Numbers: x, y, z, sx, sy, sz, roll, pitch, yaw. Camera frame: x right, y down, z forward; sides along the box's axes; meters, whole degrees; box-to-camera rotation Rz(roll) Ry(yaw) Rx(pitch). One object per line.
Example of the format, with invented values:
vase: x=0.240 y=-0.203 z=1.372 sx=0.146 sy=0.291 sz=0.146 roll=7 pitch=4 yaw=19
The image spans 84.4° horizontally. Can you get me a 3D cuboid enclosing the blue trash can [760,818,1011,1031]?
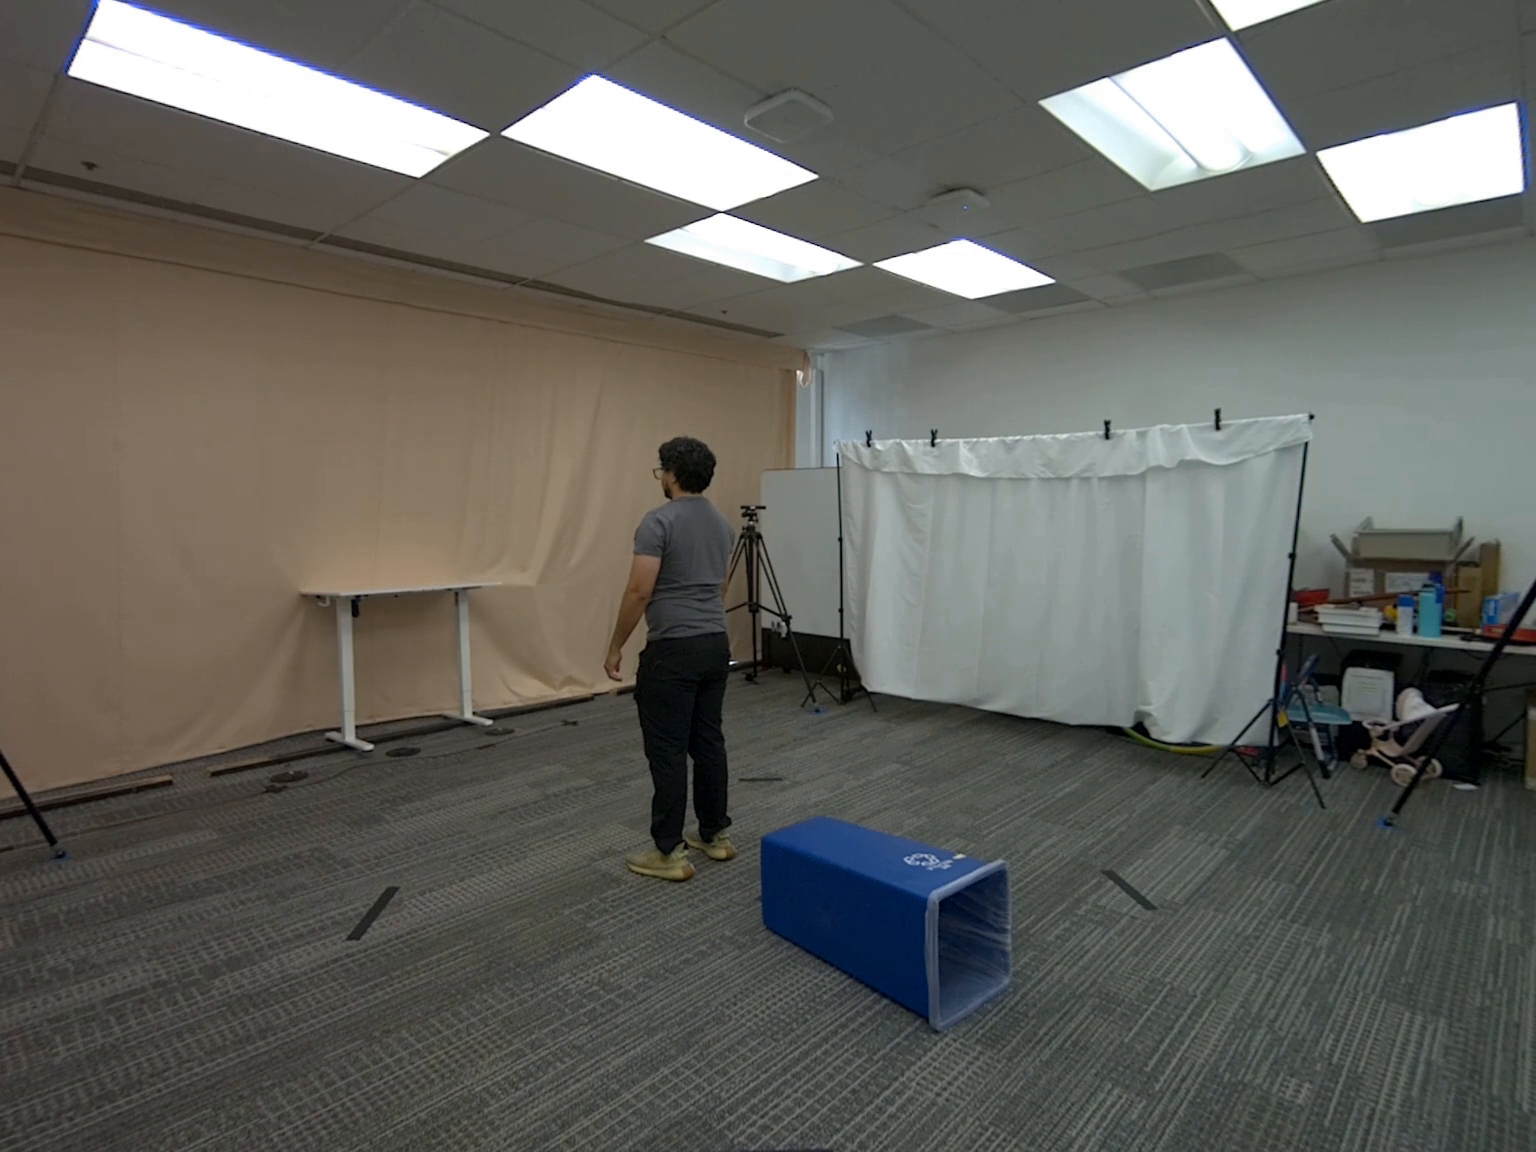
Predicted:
blue trash can: x=0.333 y=0.997 z=2.592 sx=0.366 sy=0.373 sz=0.737 roll=-3 pitch=4 yaw=-42
